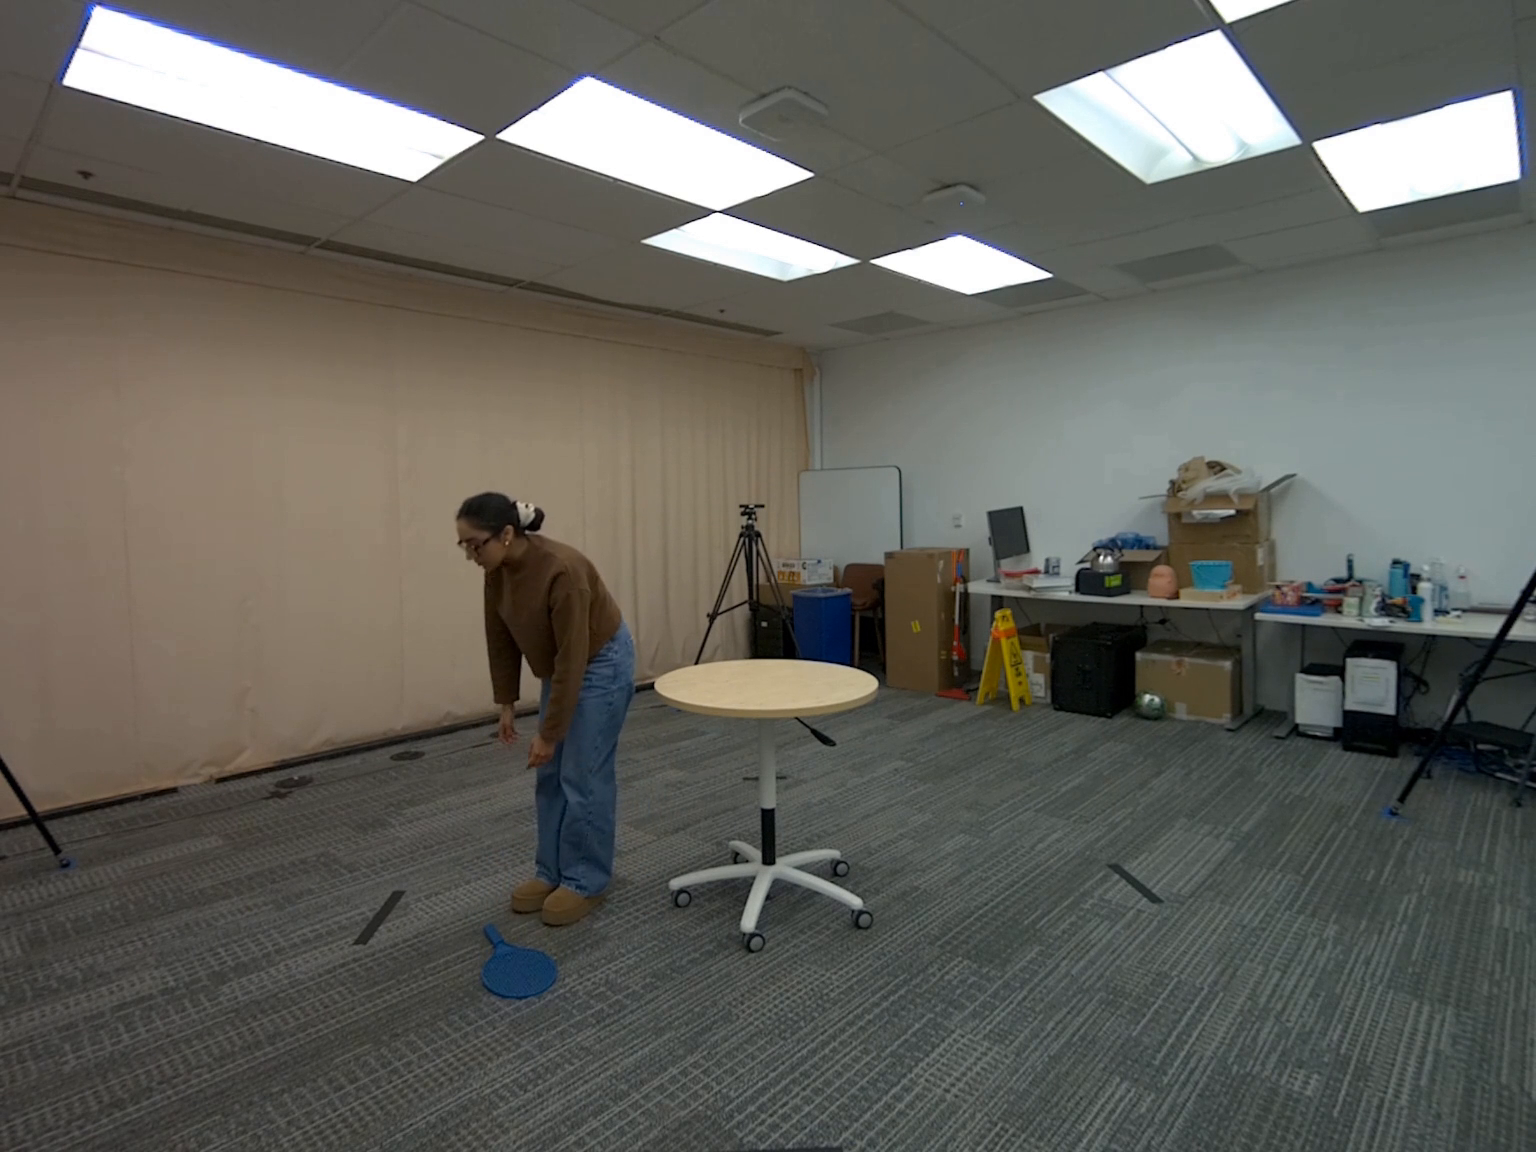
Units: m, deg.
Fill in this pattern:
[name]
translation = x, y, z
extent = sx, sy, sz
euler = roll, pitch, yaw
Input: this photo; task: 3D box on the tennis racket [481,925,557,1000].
[tennis racket]
translation = -0.783, 1.169, 2.591
extent = 0.208, 0.031, 0.446
euler = -4, 7, -33
